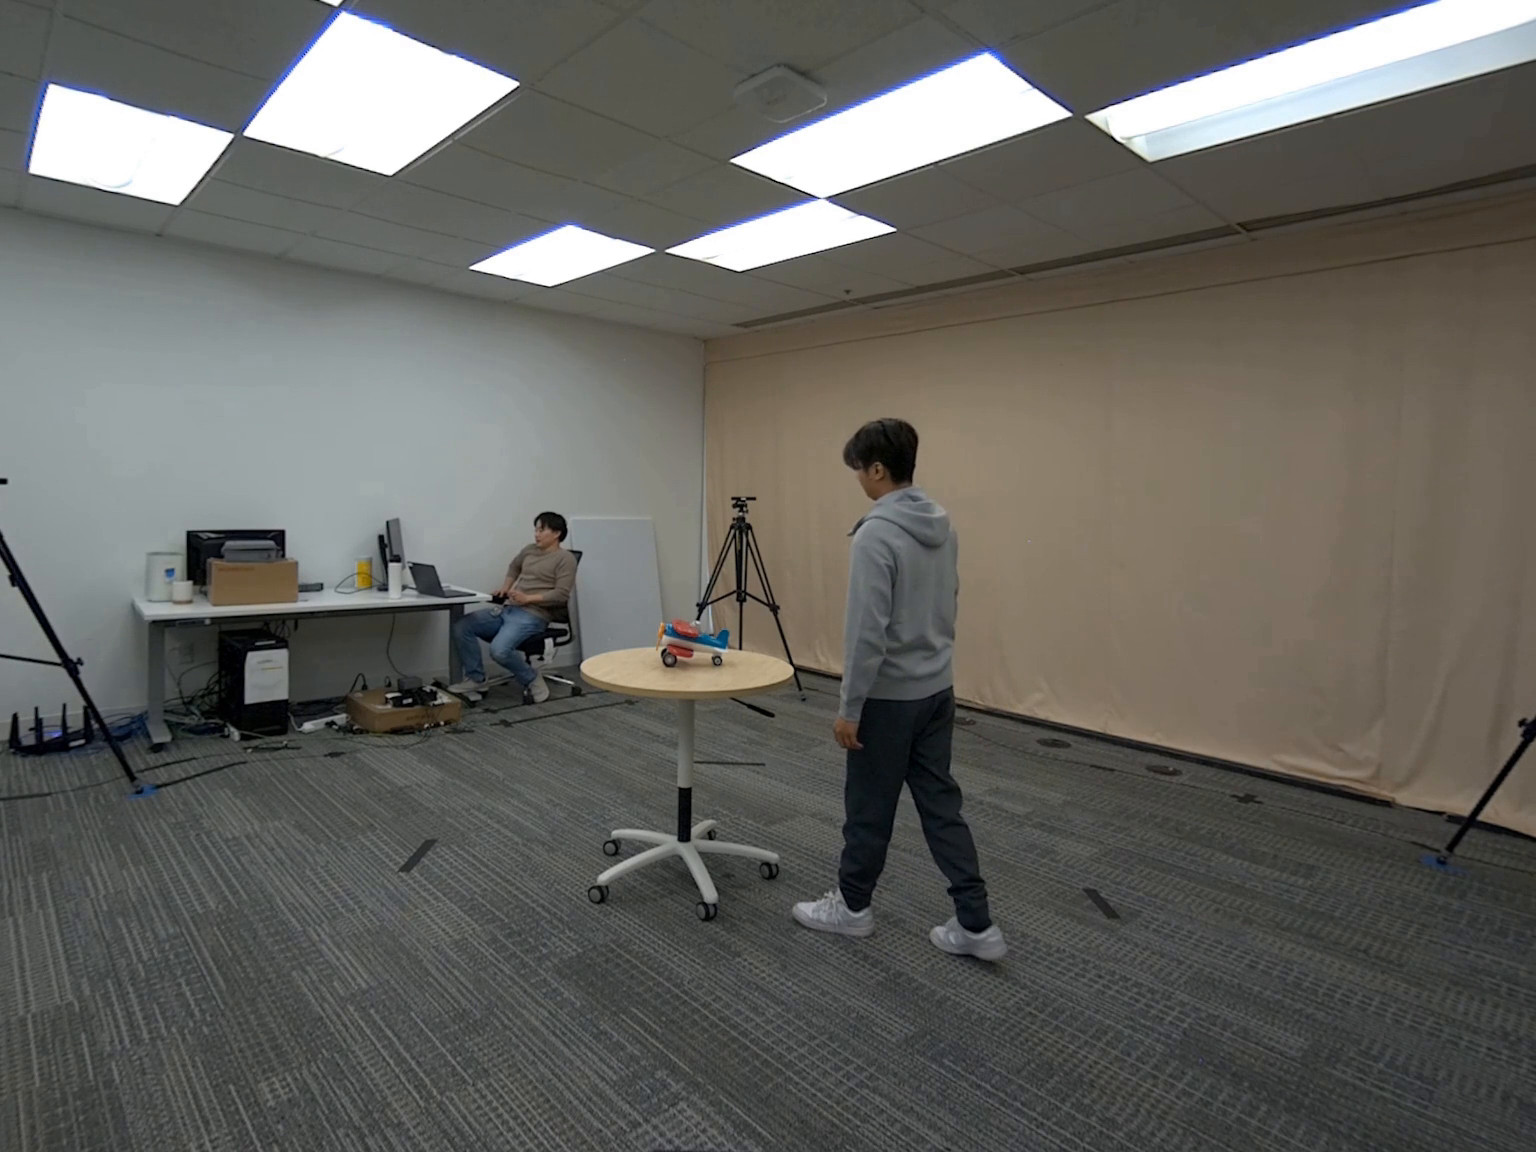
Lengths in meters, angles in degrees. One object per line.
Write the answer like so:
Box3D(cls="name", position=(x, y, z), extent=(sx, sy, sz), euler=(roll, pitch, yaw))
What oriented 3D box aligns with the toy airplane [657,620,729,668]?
Box3D(cls="toy airplane", position=(-0.288, 0.244, 3.082), extent=(0.253, 0.156, 0.257), euler=(-2, 5, -36))
